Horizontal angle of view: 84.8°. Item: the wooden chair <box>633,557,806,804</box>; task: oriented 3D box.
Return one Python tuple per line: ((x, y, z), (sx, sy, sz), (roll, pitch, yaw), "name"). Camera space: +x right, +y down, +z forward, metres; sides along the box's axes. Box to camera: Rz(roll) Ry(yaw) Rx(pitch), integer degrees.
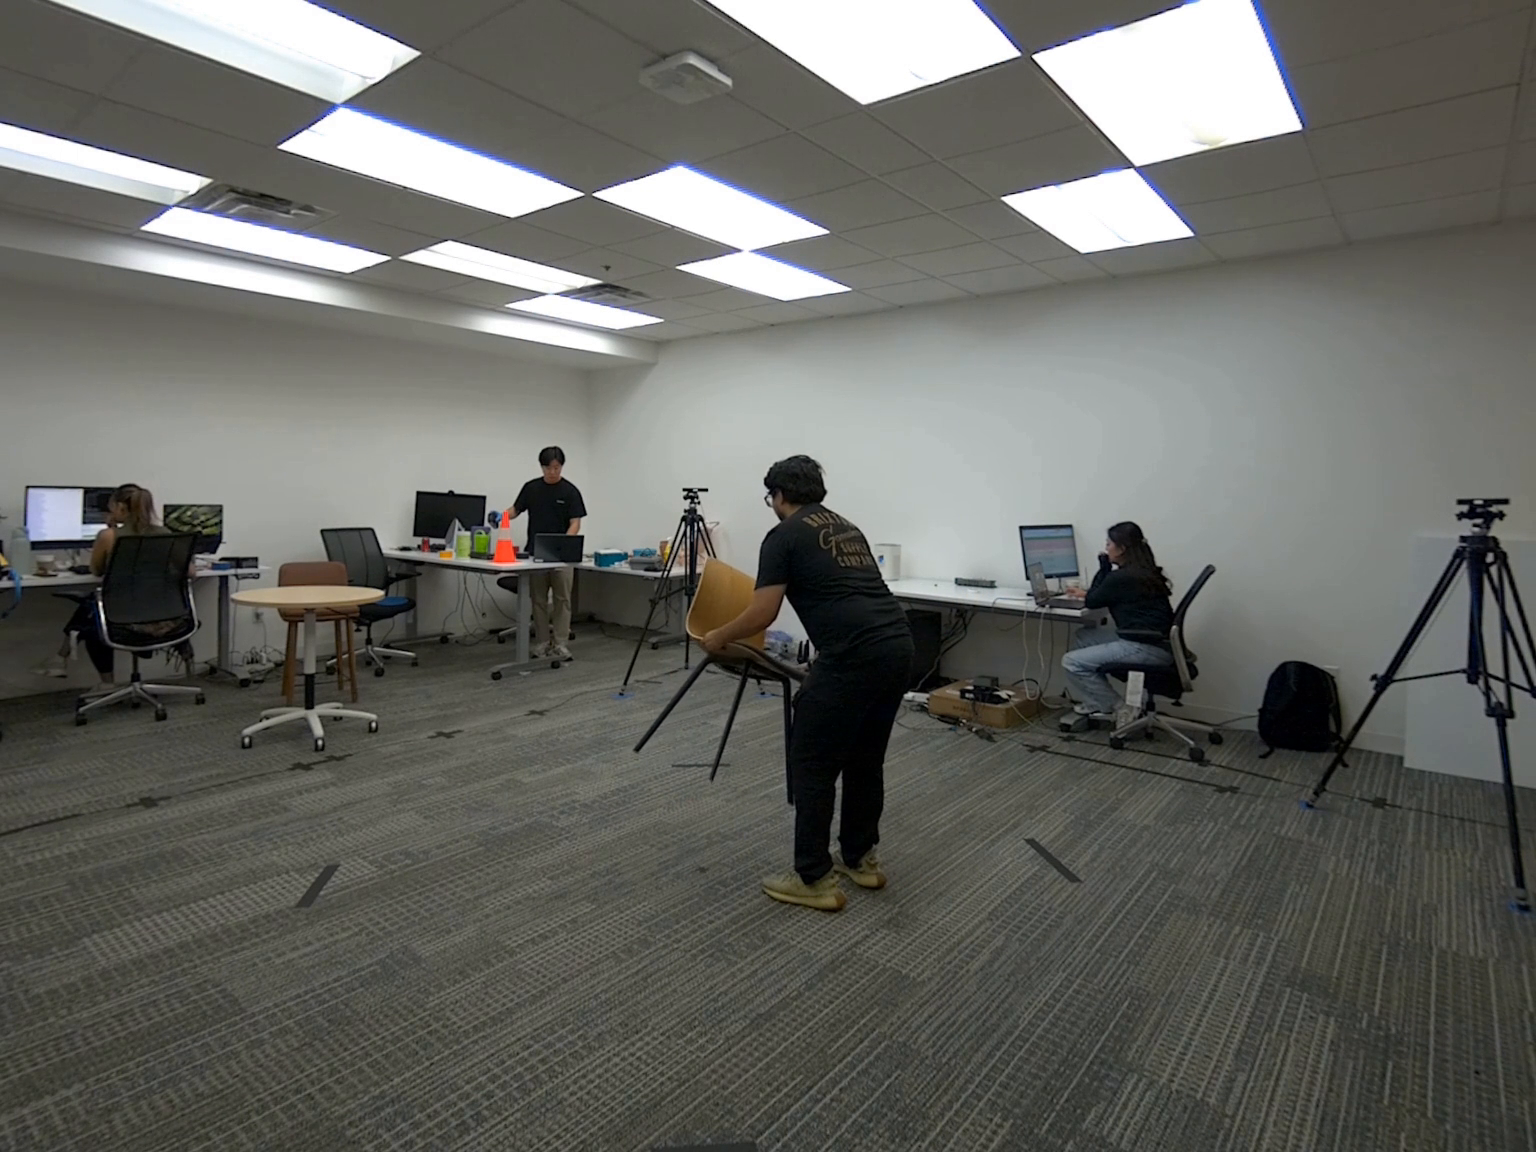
((-0.096, 0.367, 3.310), (0.539, 0.887, 0.458), (-2, -23, 44), "wooden chair")
